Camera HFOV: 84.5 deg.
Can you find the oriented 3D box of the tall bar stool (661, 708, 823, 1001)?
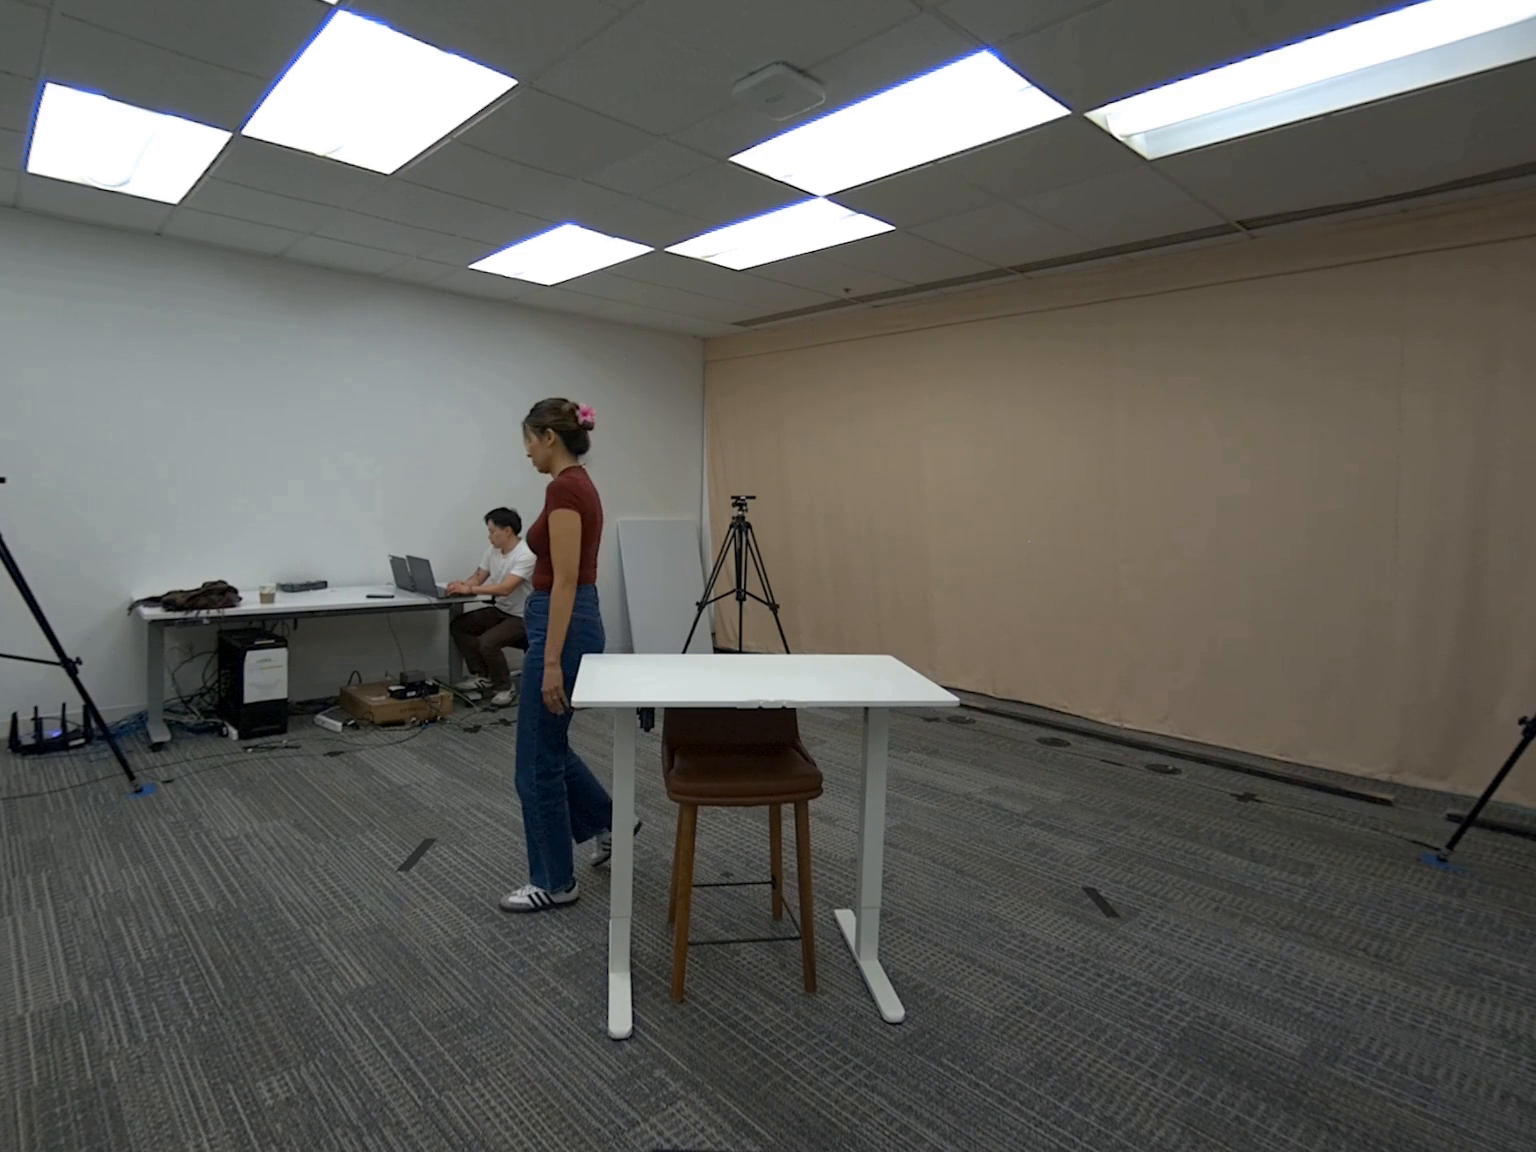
[{"bbox_3d":[-0.108,0.736,2.537,0.454,0.887,0.471,-2,3,-7],"label":"tall bar stool"}]
